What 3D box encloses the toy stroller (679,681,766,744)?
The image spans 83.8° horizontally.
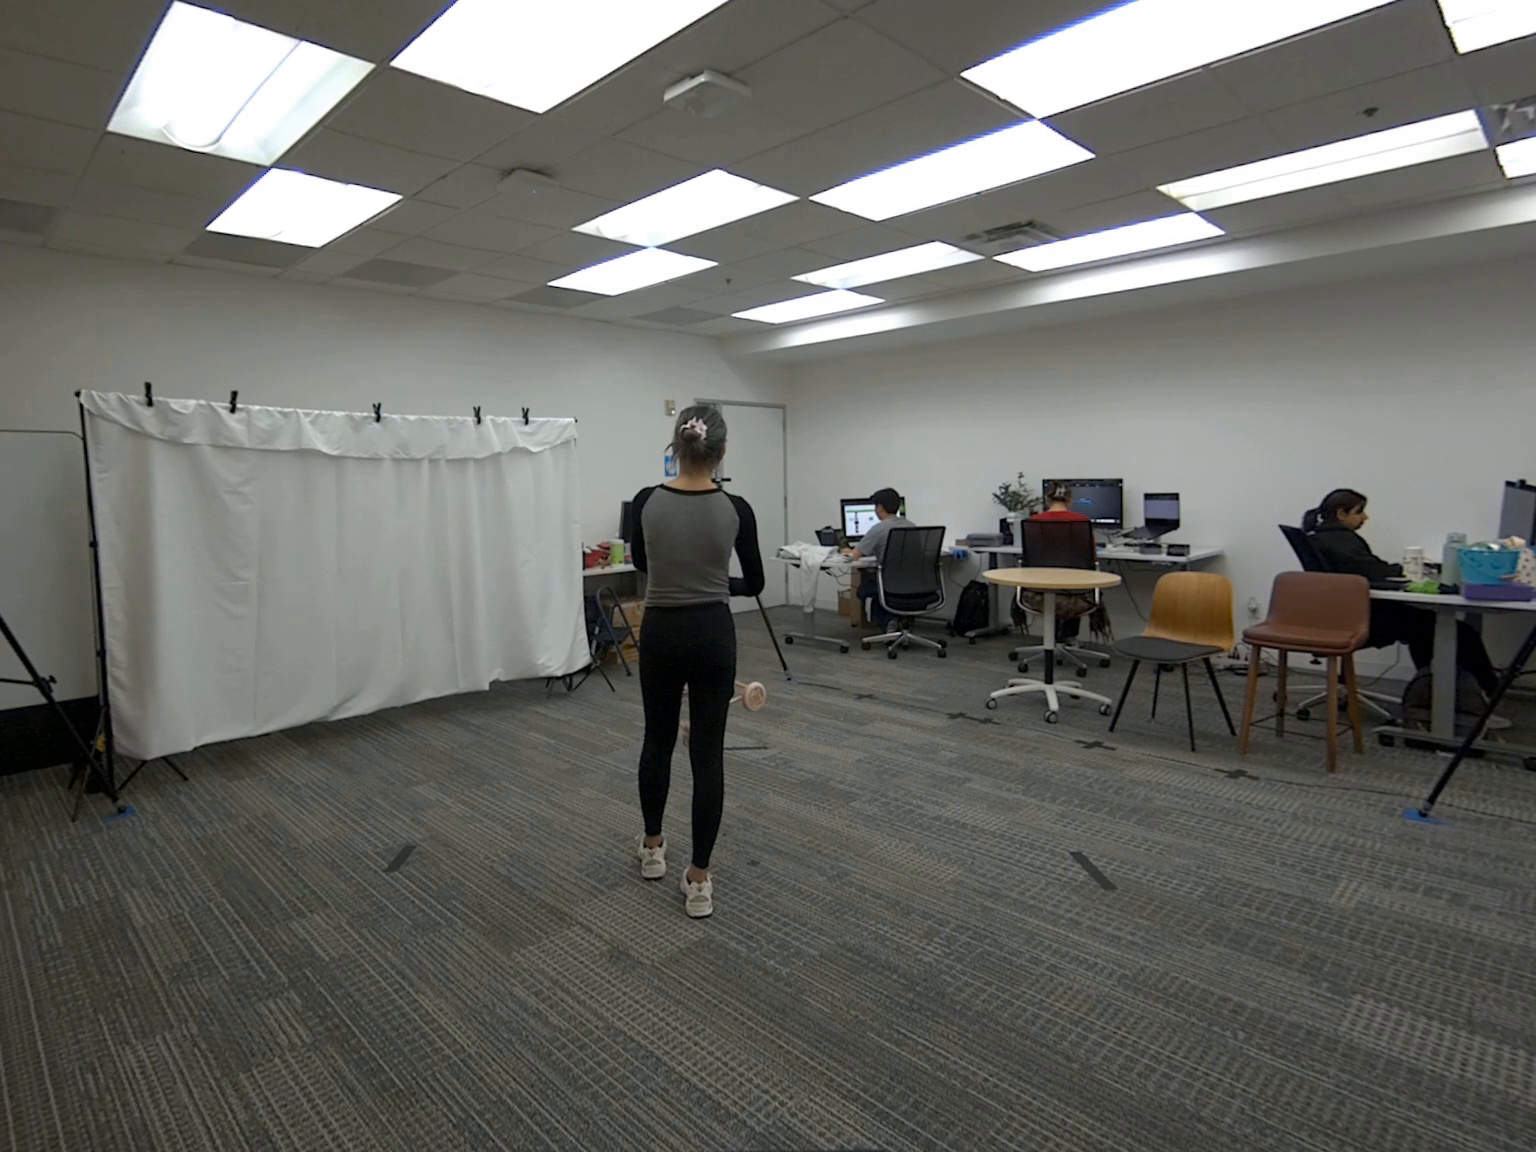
[{"bbox_3d":[-0.251,0.345,3.181,0.337,0.524,0.290,-26,22,-29],"label":"toy stroller"}]
